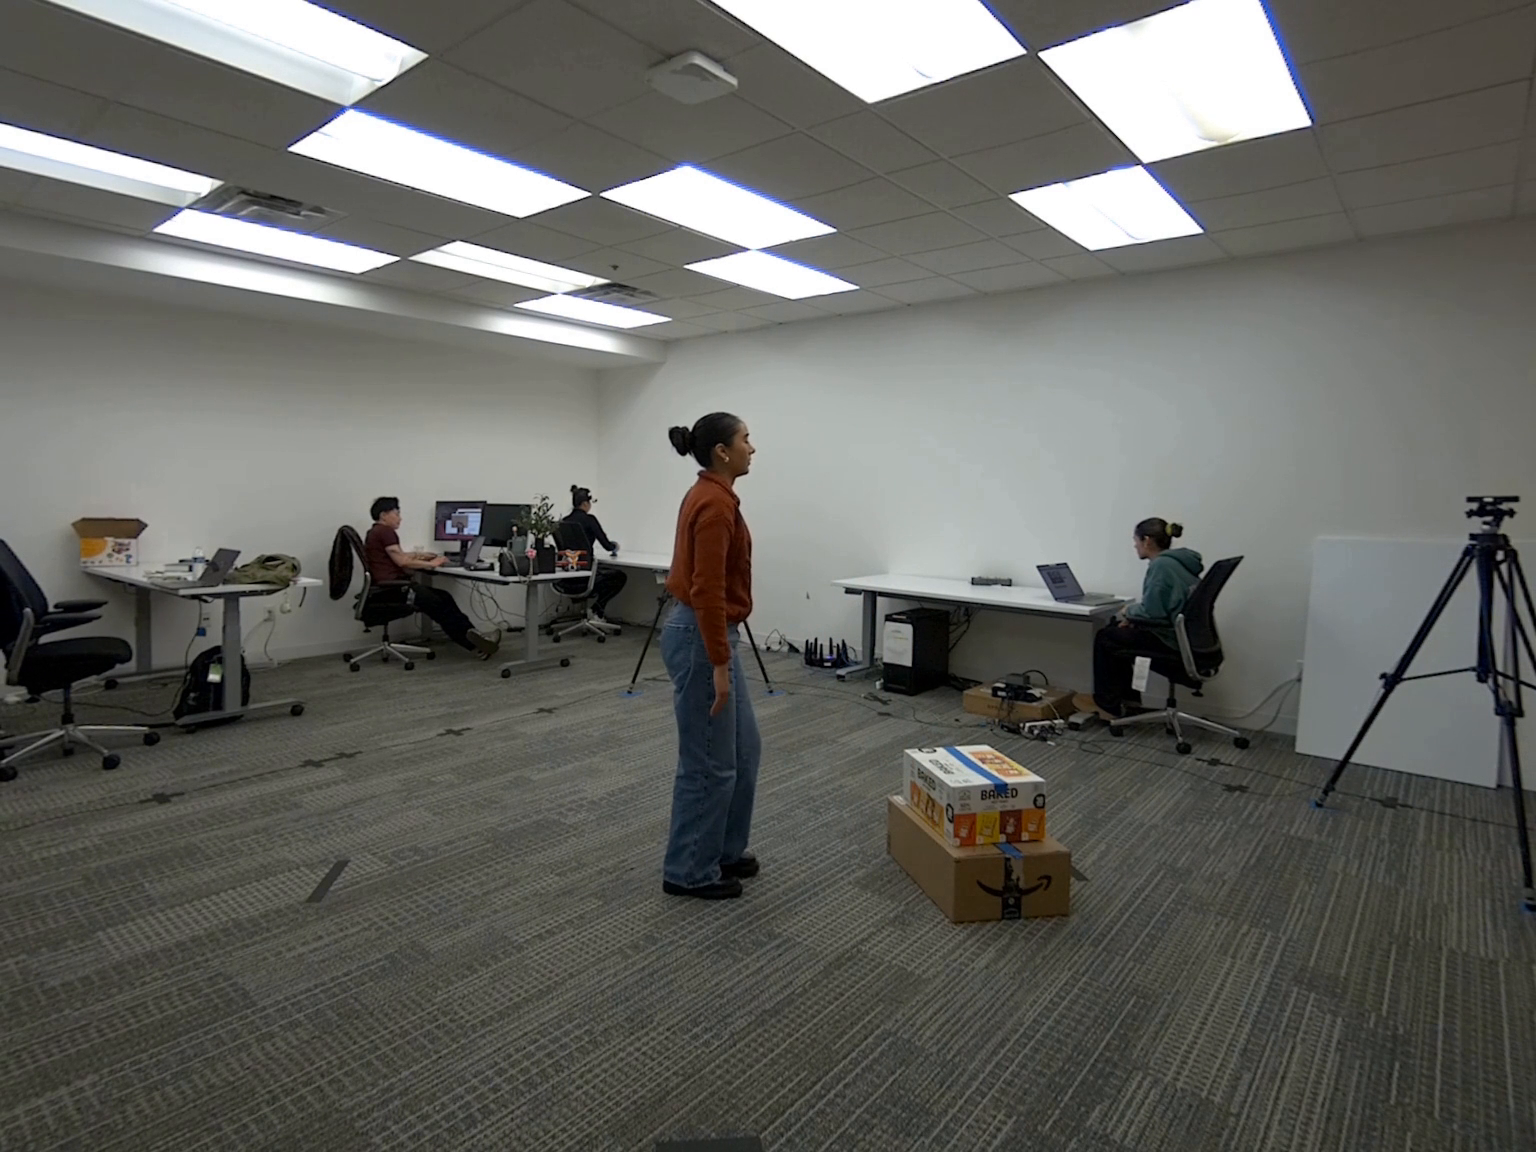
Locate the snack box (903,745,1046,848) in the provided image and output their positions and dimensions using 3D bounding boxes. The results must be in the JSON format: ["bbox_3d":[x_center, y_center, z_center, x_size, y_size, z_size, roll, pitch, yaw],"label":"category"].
[{"bbox_3d":[0.721,0.775,3.044,0.336,0.205,0.412,-1,6,-13],"label":"snack box"}]
